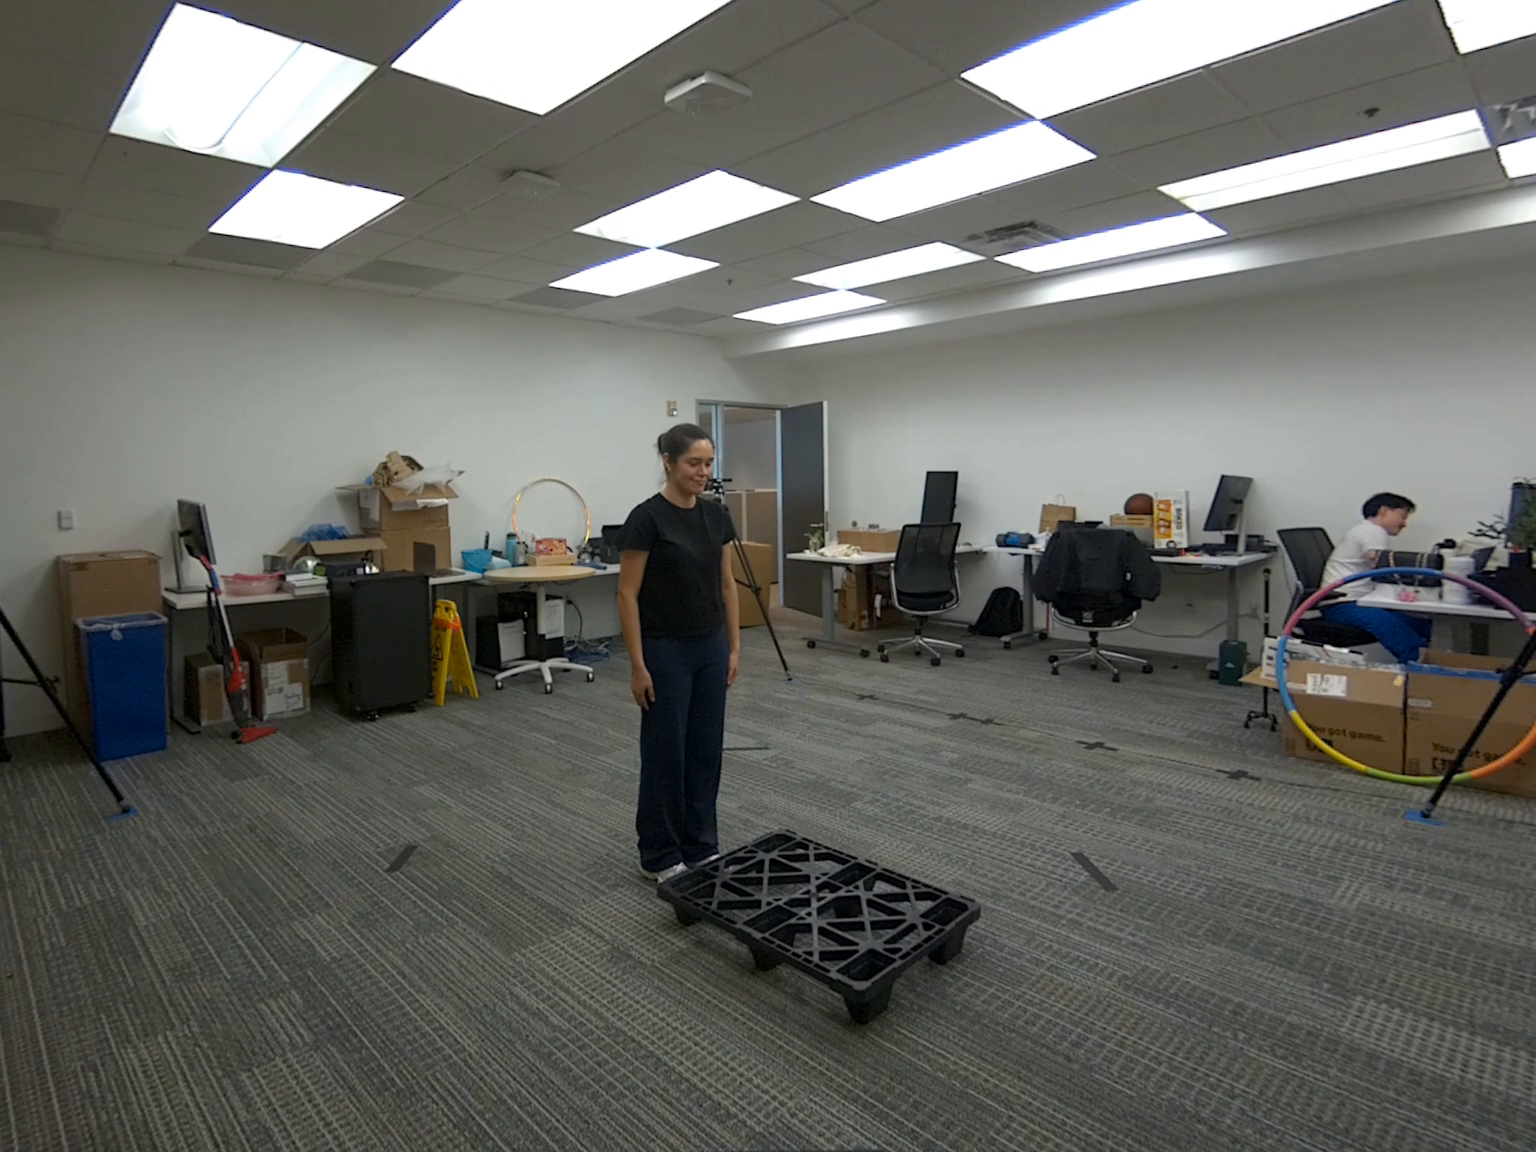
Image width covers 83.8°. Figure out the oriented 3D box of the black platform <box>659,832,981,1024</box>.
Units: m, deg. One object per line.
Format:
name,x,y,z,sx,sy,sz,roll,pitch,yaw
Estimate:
black platform,0.144,1.034,2.616,0.831,0.142,0.589,6,9,44
